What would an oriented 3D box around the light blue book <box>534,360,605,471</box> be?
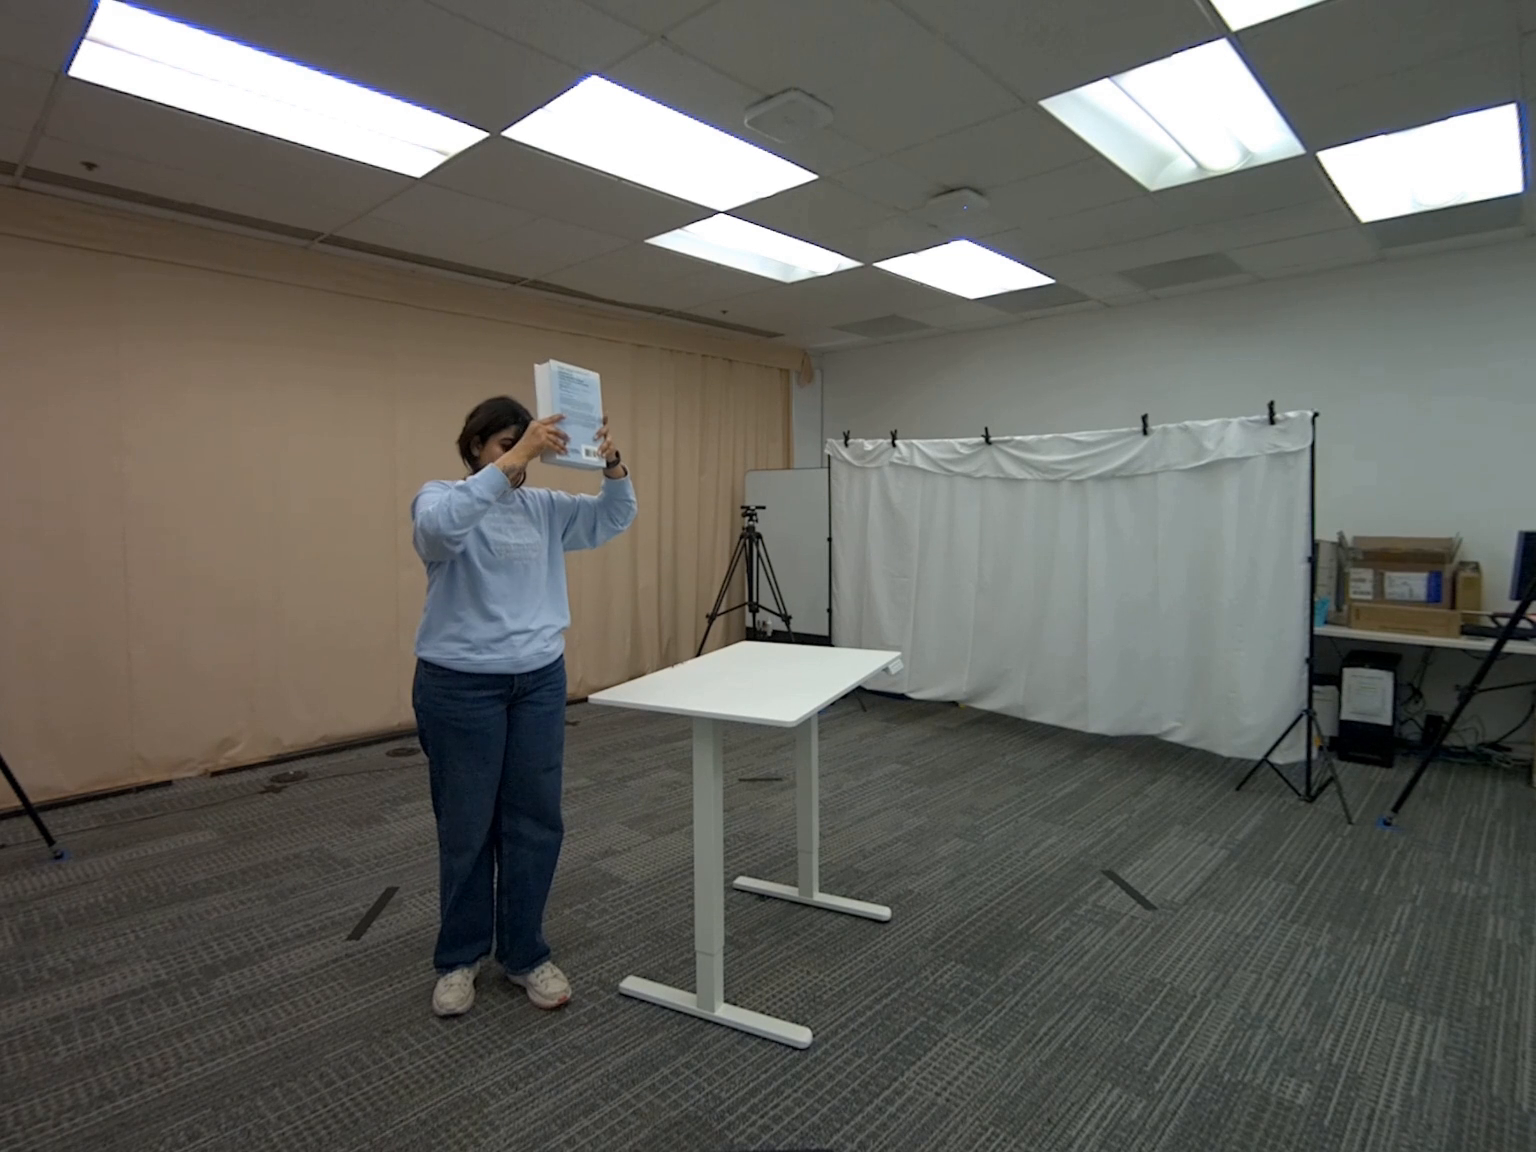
[{"bbox_3d":[-0.523,-0.423,2.218,0.060,0.262,0.185,-10,-7,31],"label":"light blue book"}]
